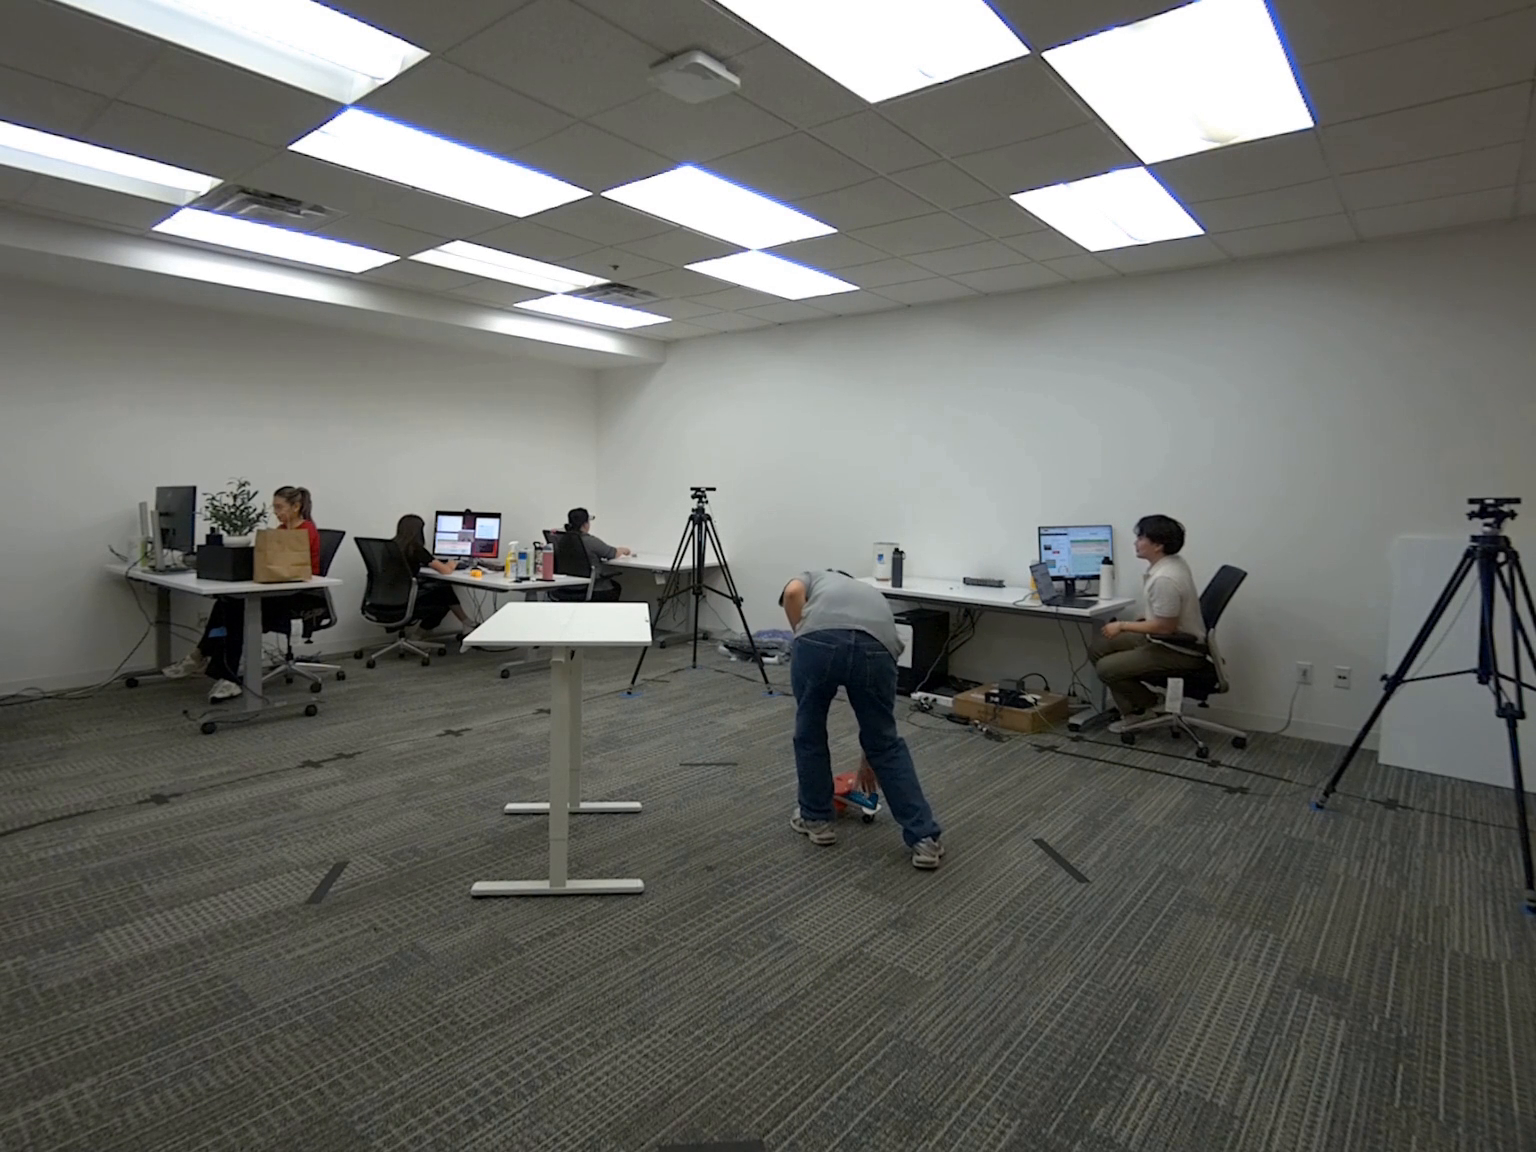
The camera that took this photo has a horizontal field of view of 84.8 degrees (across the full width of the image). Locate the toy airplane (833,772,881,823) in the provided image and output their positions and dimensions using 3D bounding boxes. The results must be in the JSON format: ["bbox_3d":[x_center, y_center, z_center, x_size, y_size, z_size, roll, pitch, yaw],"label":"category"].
[{"bbox_3d":[0.347,0.951,3.659,0.261,0.156,0.250,0,5,5],"label":"toy airplane"}]
